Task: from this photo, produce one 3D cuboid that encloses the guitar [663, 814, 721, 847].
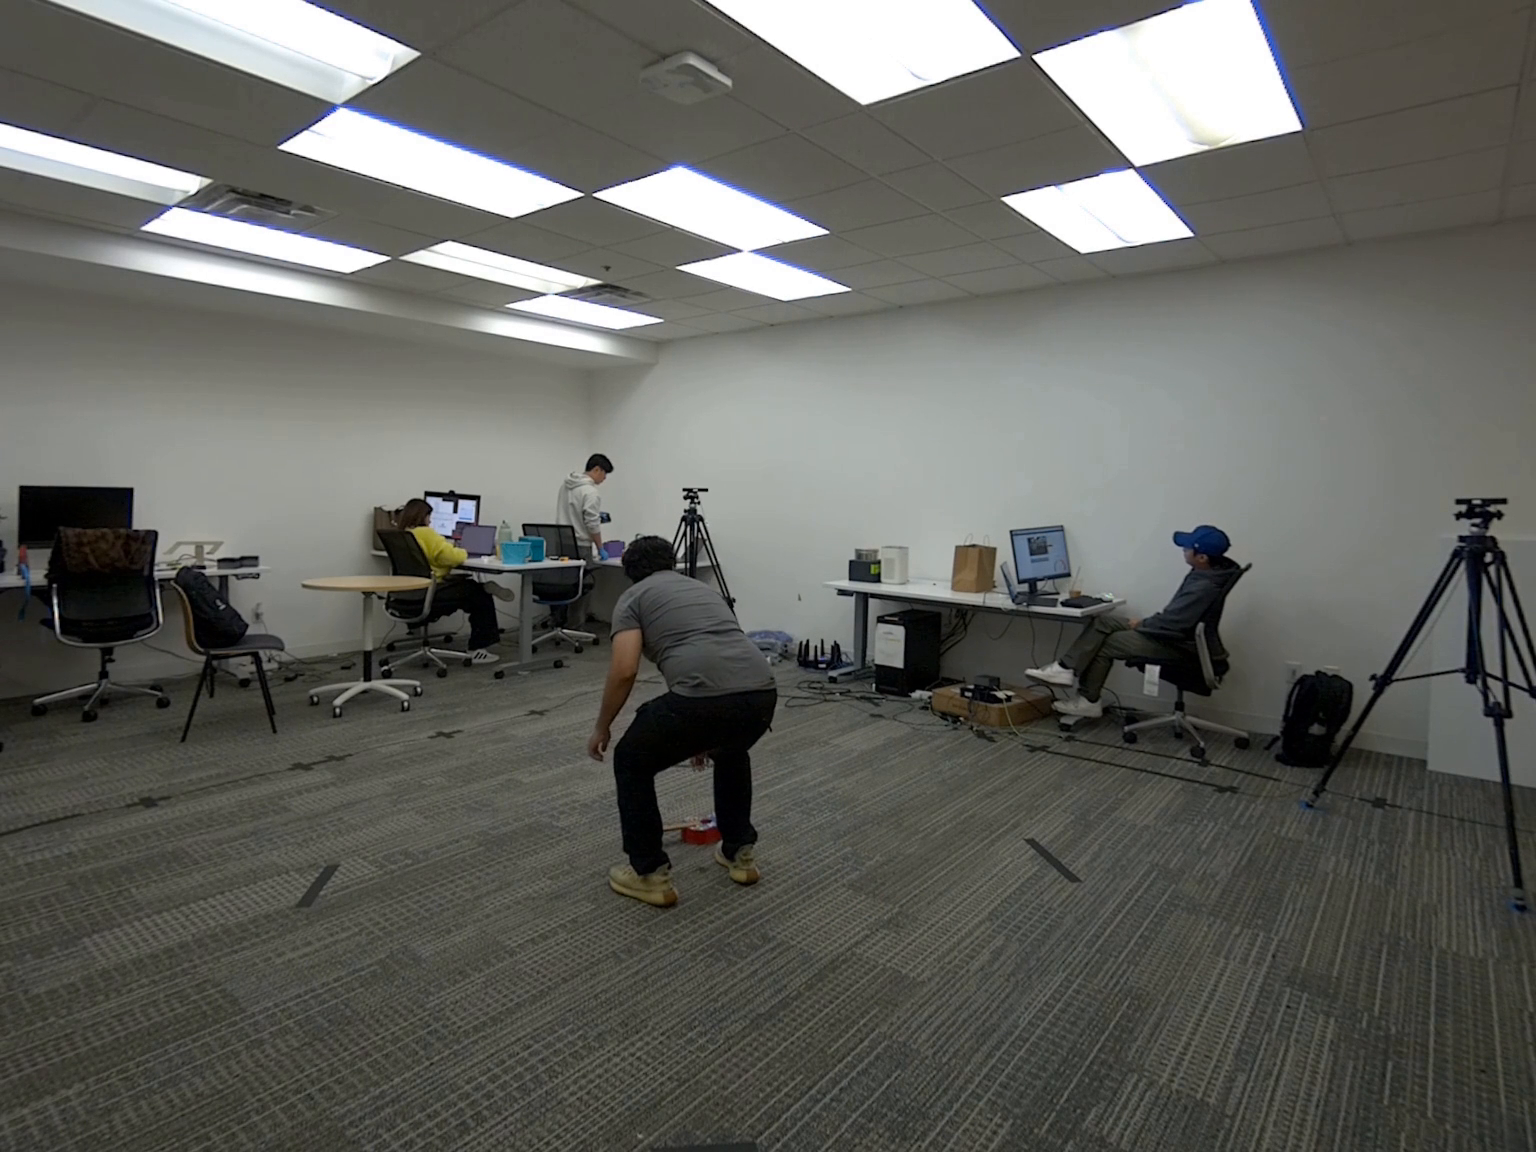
[{"bbox_3d":[-0.334,1.003,3.404,0.490,0.070,0.197,0,6,-16],"label":"guitar"}]
